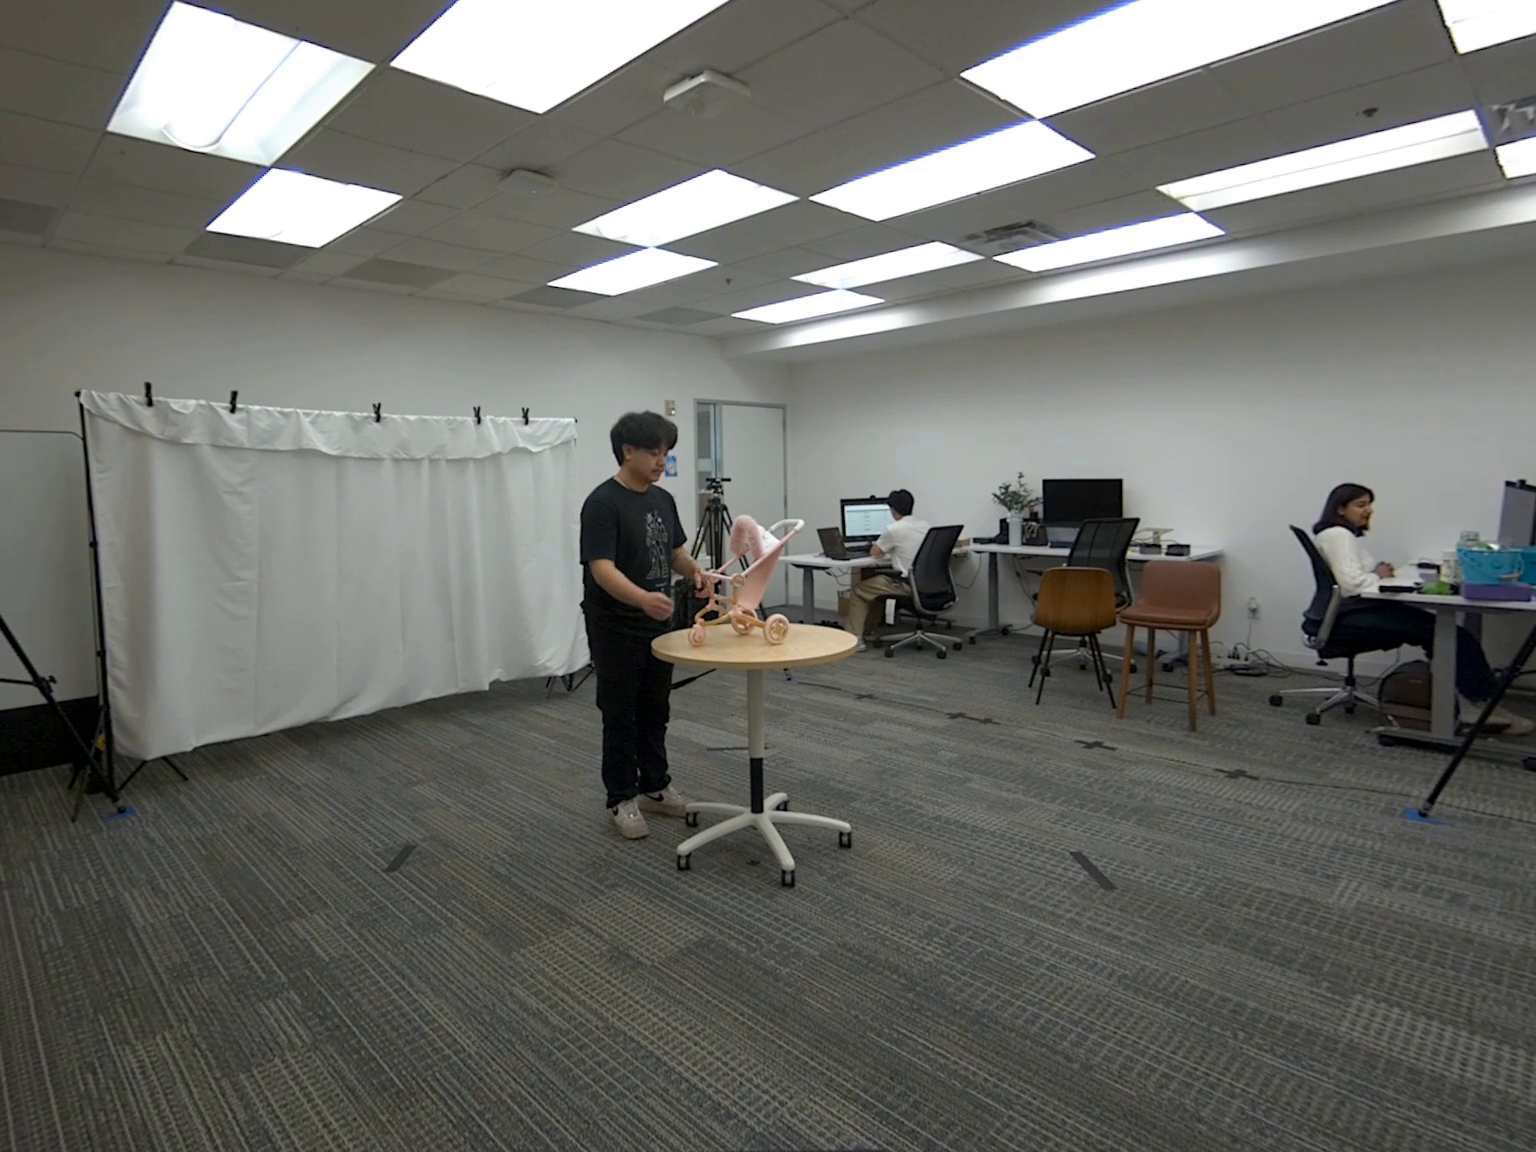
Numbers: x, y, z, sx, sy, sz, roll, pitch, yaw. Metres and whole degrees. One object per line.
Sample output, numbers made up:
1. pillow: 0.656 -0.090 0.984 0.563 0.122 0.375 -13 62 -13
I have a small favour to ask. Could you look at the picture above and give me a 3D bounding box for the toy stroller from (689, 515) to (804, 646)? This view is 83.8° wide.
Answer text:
1. toy stroller: -0.093 0.017 3.159 0.333 0.536 0.288 11 -2 -23
